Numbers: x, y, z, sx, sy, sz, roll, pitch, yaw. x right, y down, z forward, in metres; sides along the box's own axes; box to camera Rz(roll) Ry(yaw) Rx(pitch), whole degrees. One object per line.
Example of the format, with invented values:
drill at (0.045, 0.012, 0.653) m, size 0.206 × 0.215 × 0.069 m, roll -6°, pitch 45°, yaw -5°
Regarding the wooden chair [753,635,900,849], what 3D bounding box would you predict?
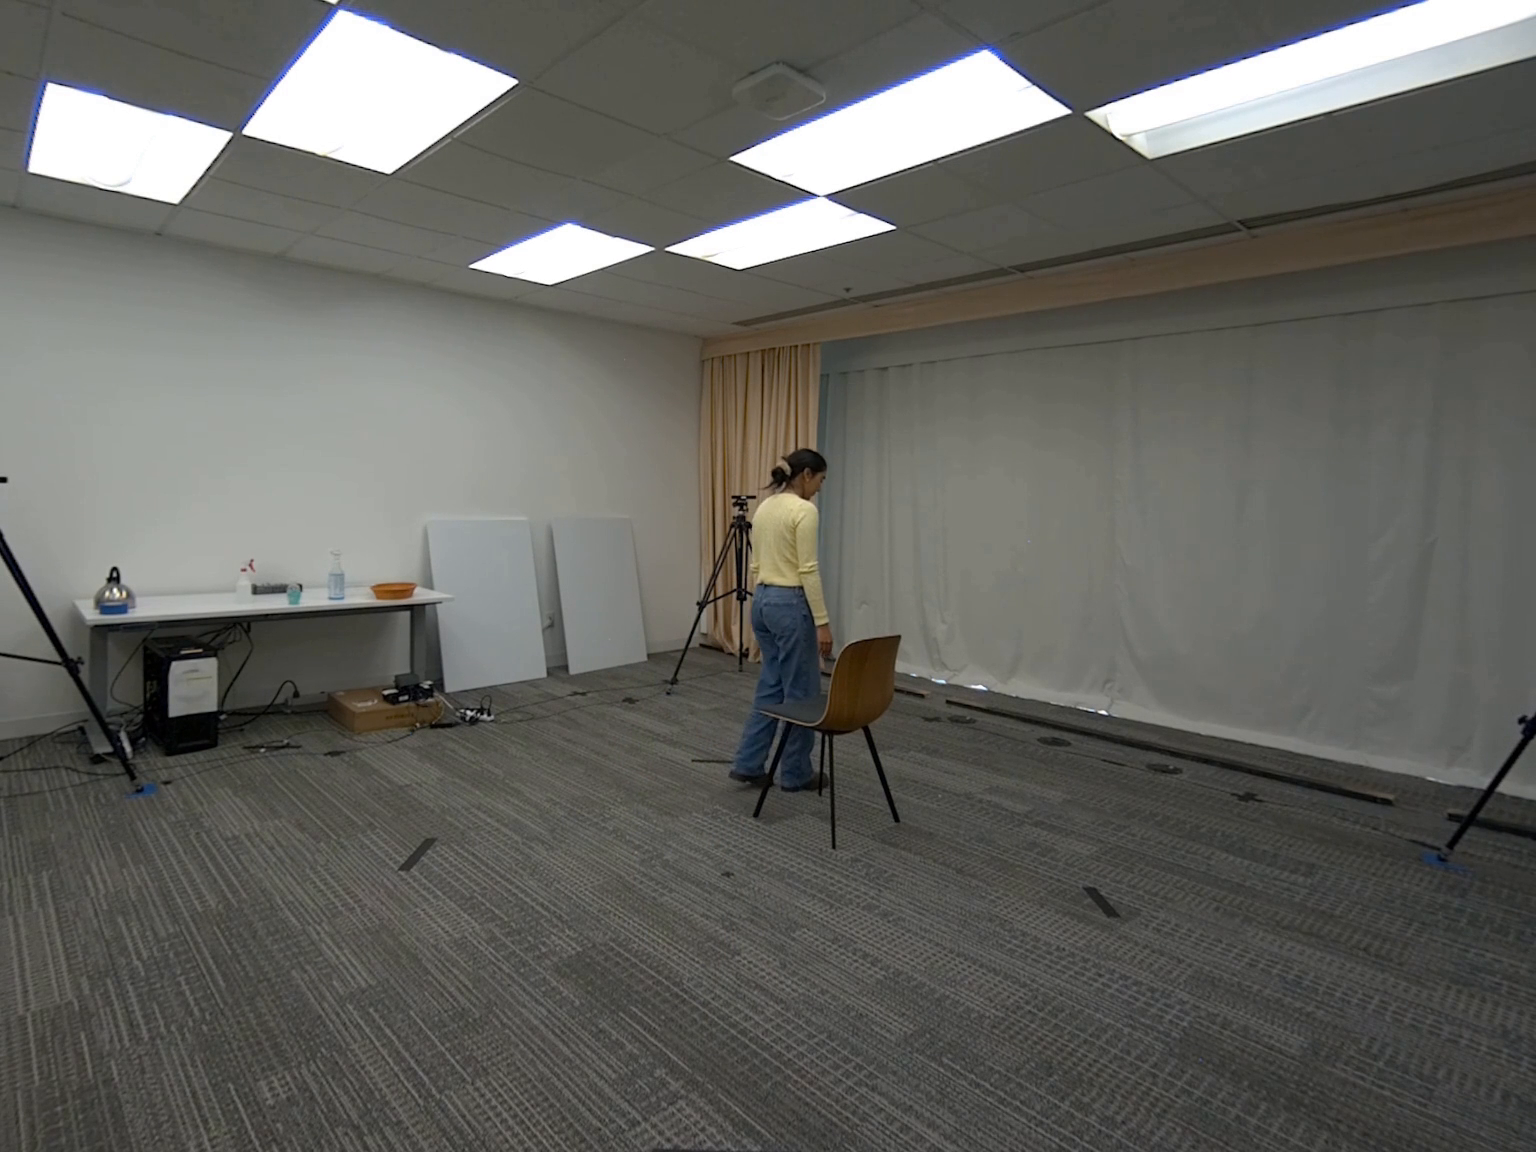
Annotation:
wooden chair at (0.253, 0.636, 3.631) m, size 0.537 × 0.873 × 0.467 m, roll 10°, pitch 9°, yaw 43°
